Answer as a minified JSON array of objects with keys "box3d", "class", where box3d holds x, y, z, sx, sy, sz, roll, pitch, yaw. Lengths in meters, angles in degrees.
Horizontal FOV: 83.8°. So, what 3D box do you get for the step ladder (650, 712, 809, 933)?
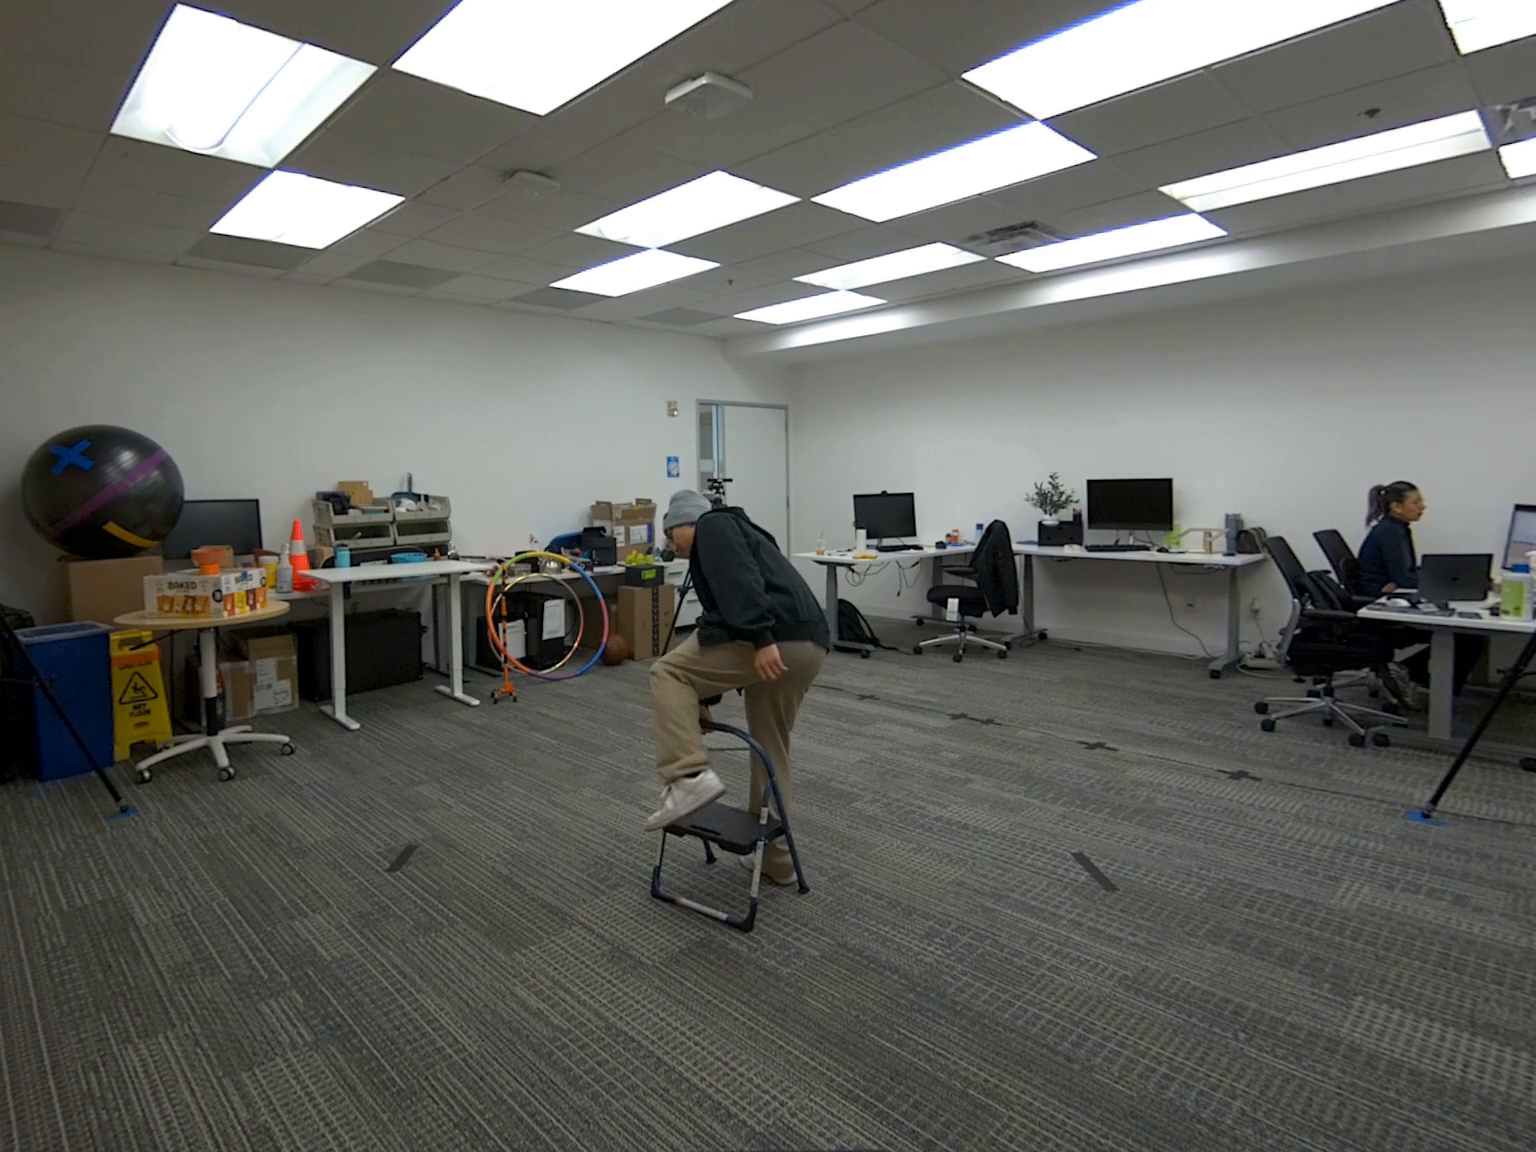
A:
[{"box3d":[-0.135,0.774,2.863,0.443,0.604,0.341,2,5,35],"class":"step ladder"}]
